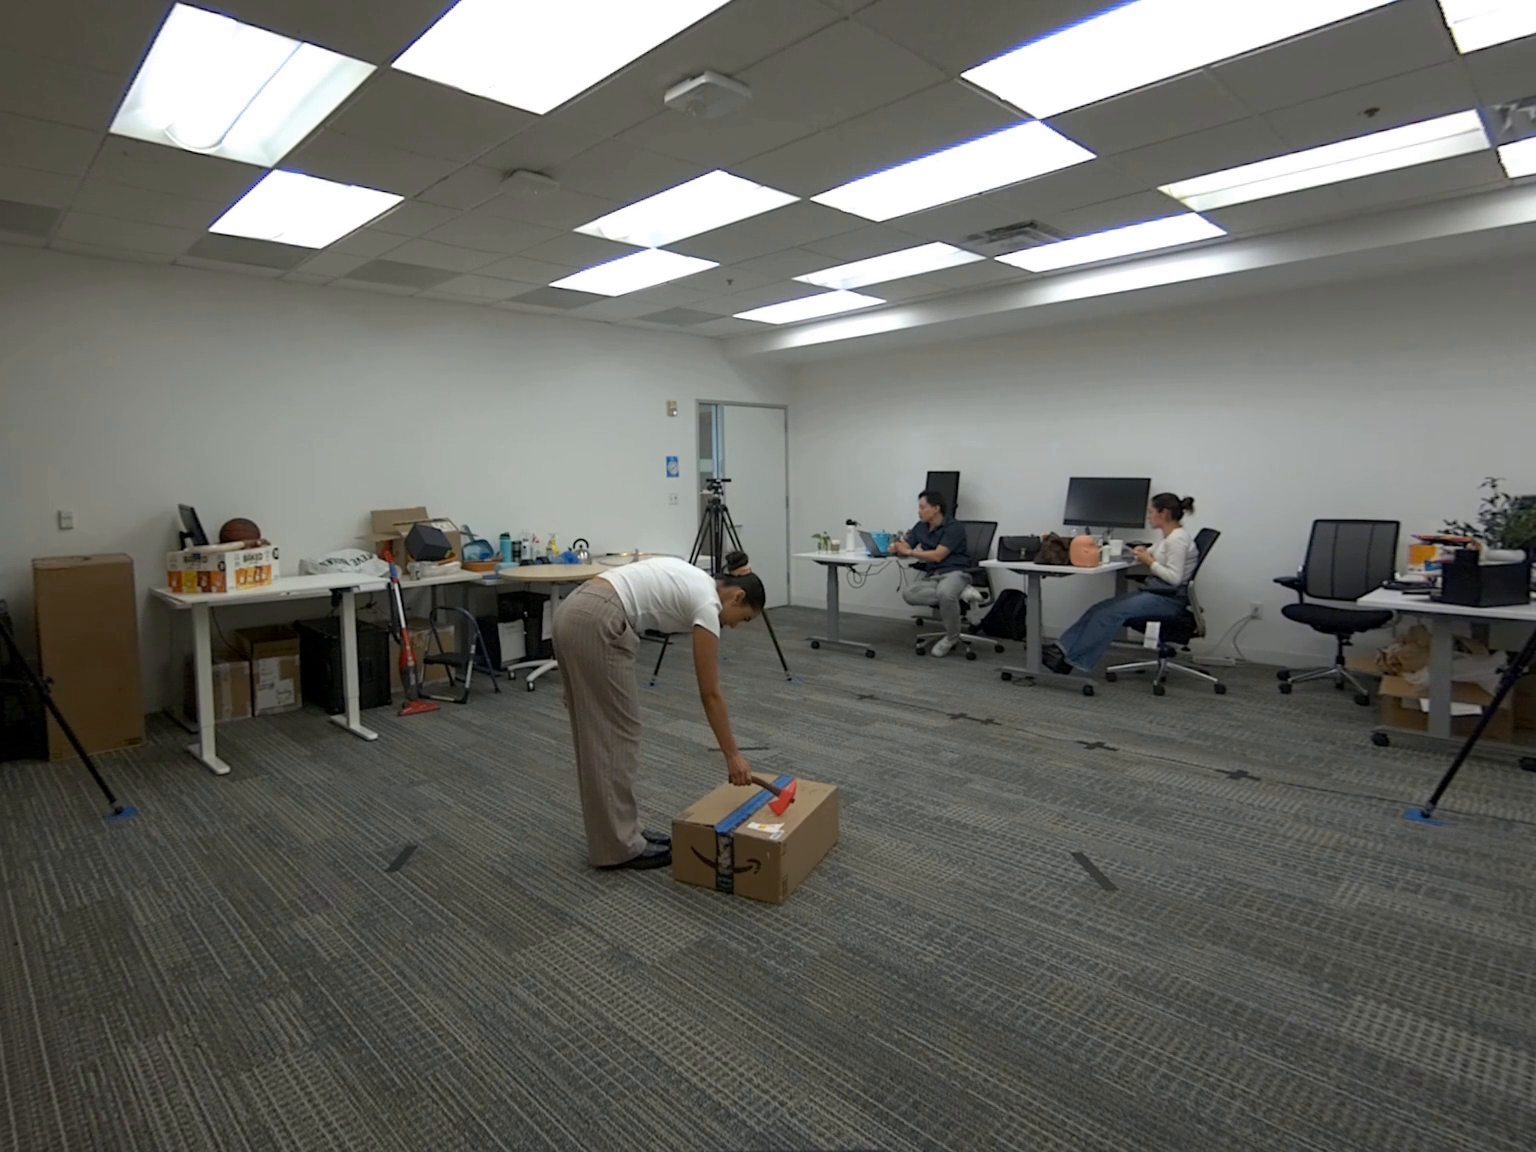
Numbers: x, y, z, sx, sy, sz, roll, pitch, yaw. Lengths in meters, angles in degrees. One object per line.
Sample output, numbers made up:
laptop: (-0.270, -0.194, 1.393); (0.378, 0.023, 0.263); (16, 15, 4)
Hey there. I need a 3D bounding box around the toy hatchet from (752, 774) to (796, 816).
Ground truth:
toy hatchet: (-0.031, 0.778, 3.061); (0.277, 0.133, 0.028); (1, -28, 29)
